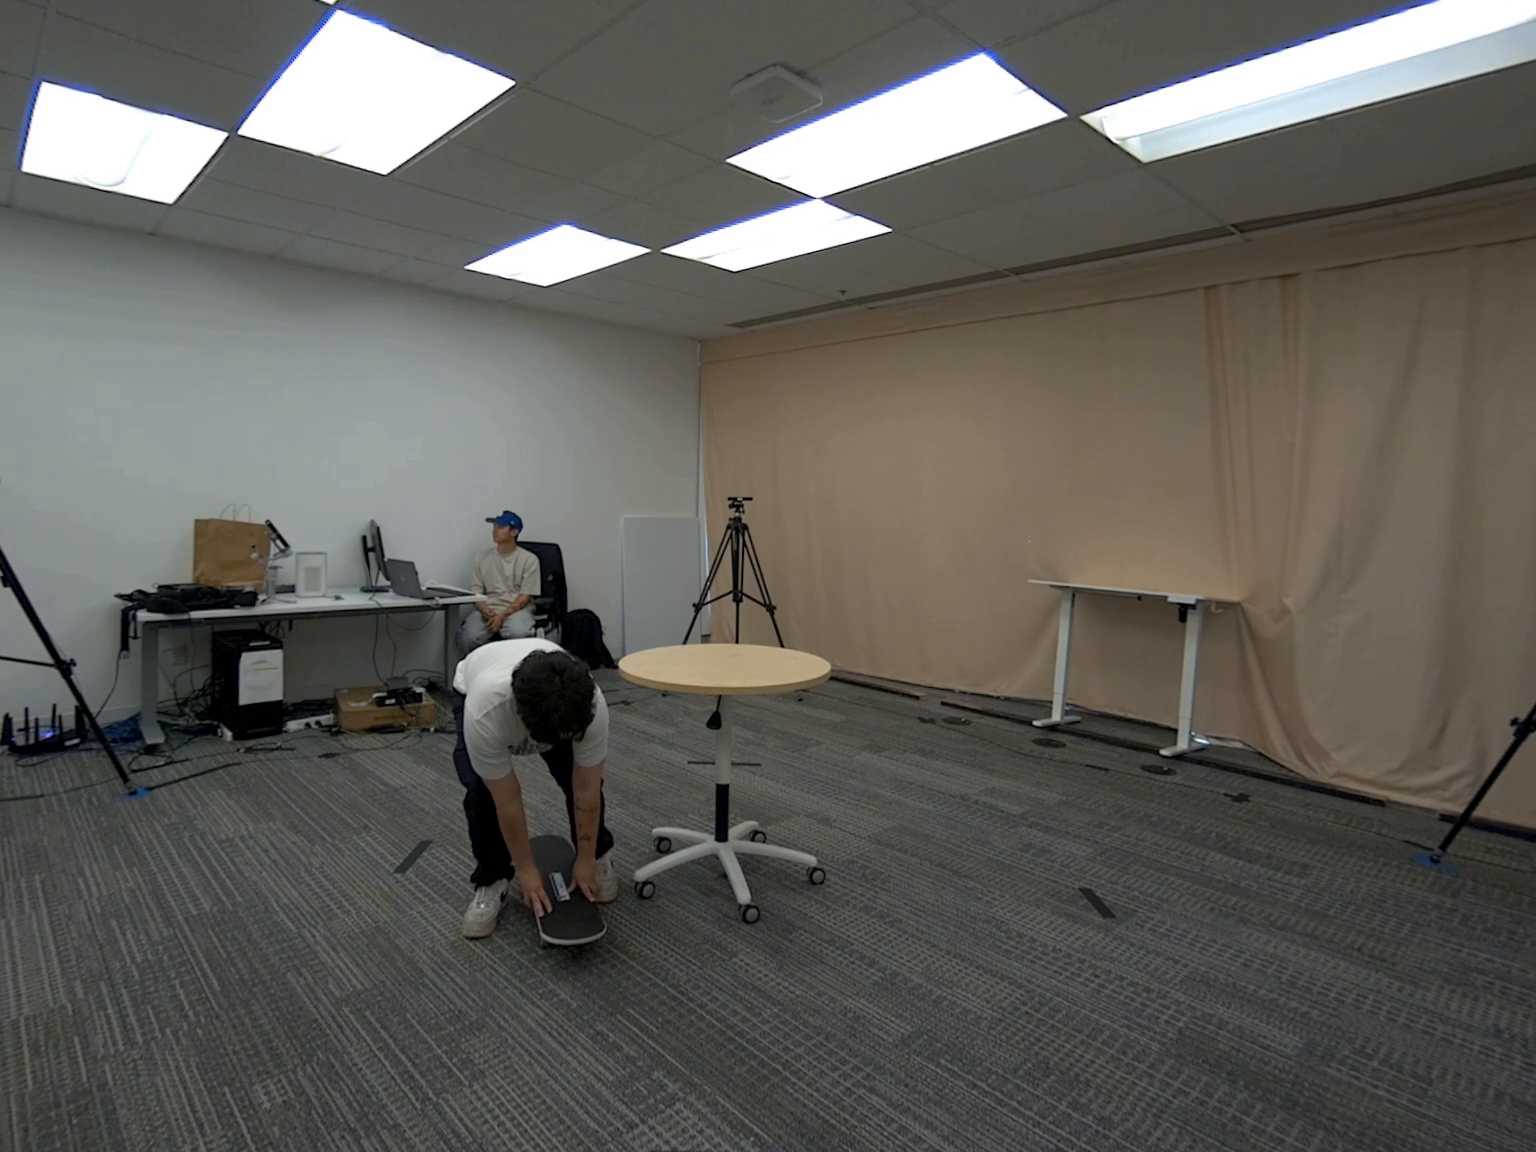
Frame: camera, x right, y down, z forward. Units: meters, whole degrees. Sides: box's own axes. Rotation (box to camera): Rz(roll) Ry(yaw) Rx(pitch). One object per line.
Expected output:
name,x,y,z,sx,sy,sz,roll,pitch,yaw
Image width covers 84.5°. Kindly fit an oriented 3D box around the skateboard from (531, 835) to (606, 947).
skateboard,-0.698,1.070,2.793,0.190,0.110,0.800,0,5,-21
